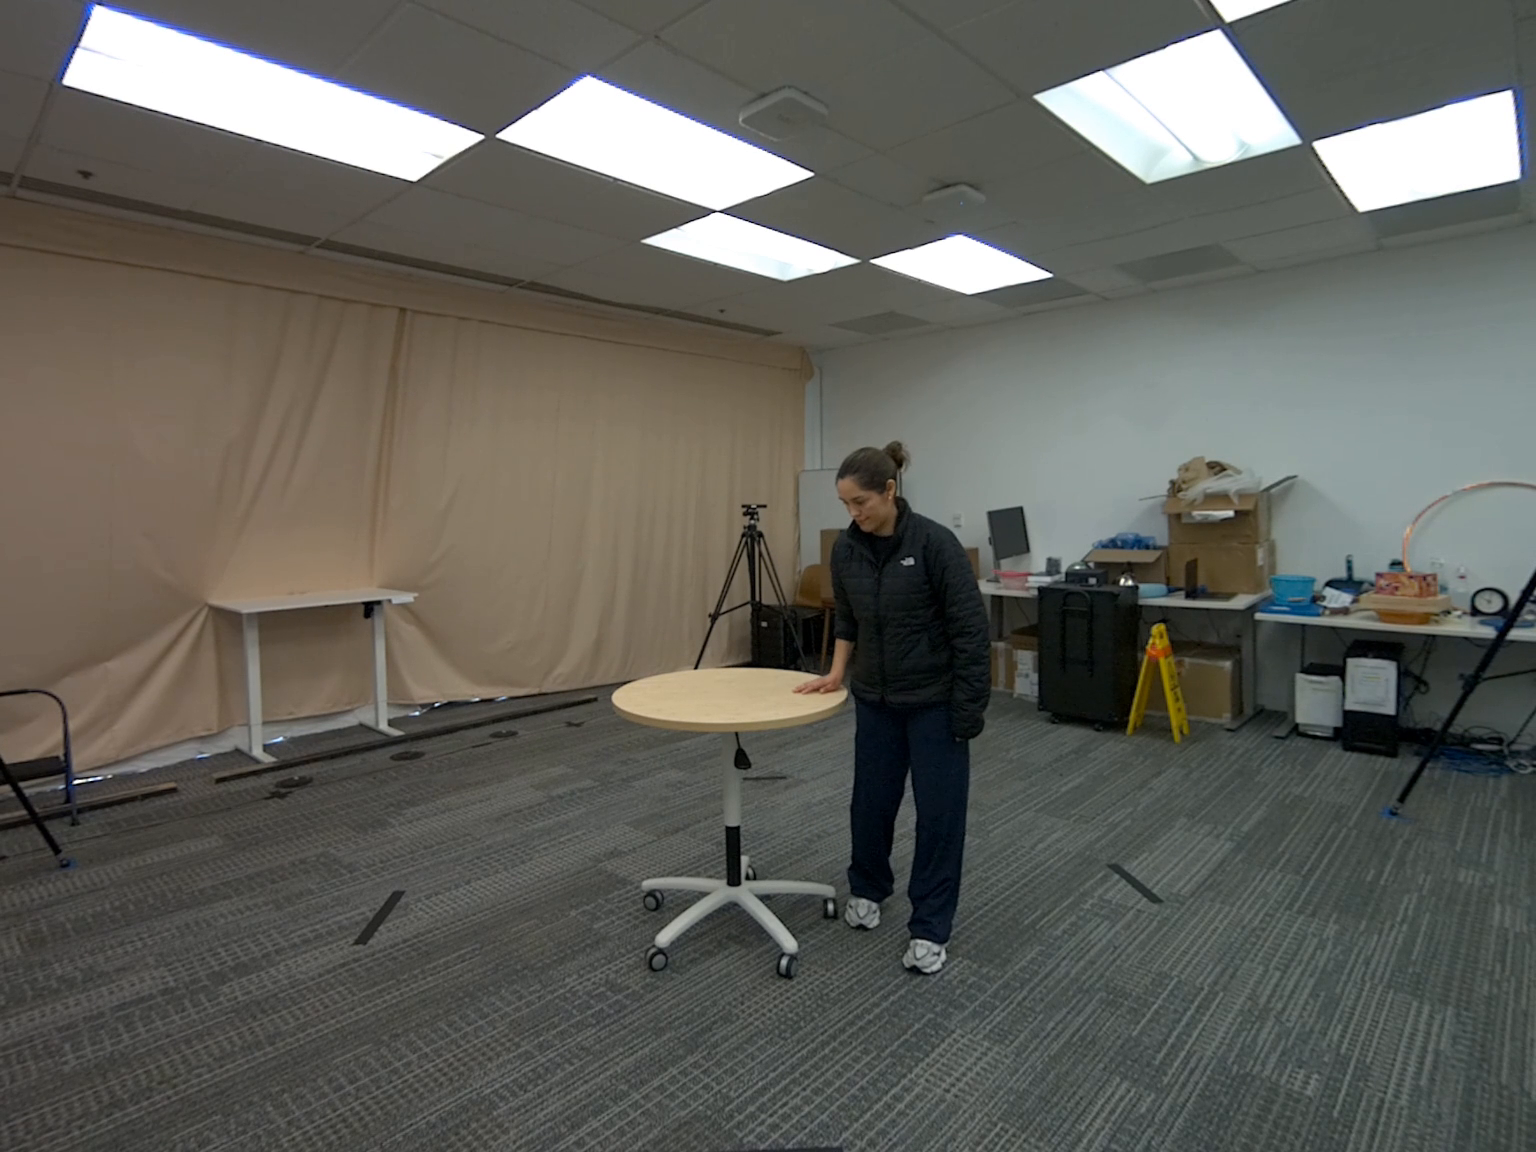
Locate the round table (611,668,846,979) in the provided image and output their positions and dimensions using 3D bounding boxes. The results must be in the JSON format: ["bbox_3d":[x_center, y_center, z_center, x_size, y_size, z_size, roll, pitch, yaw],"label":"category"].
[{"bbox_3d":[-0.117,0.769,2.785,0.784,0.784,0.788,-1,4,-2],"label":"round table"}]
